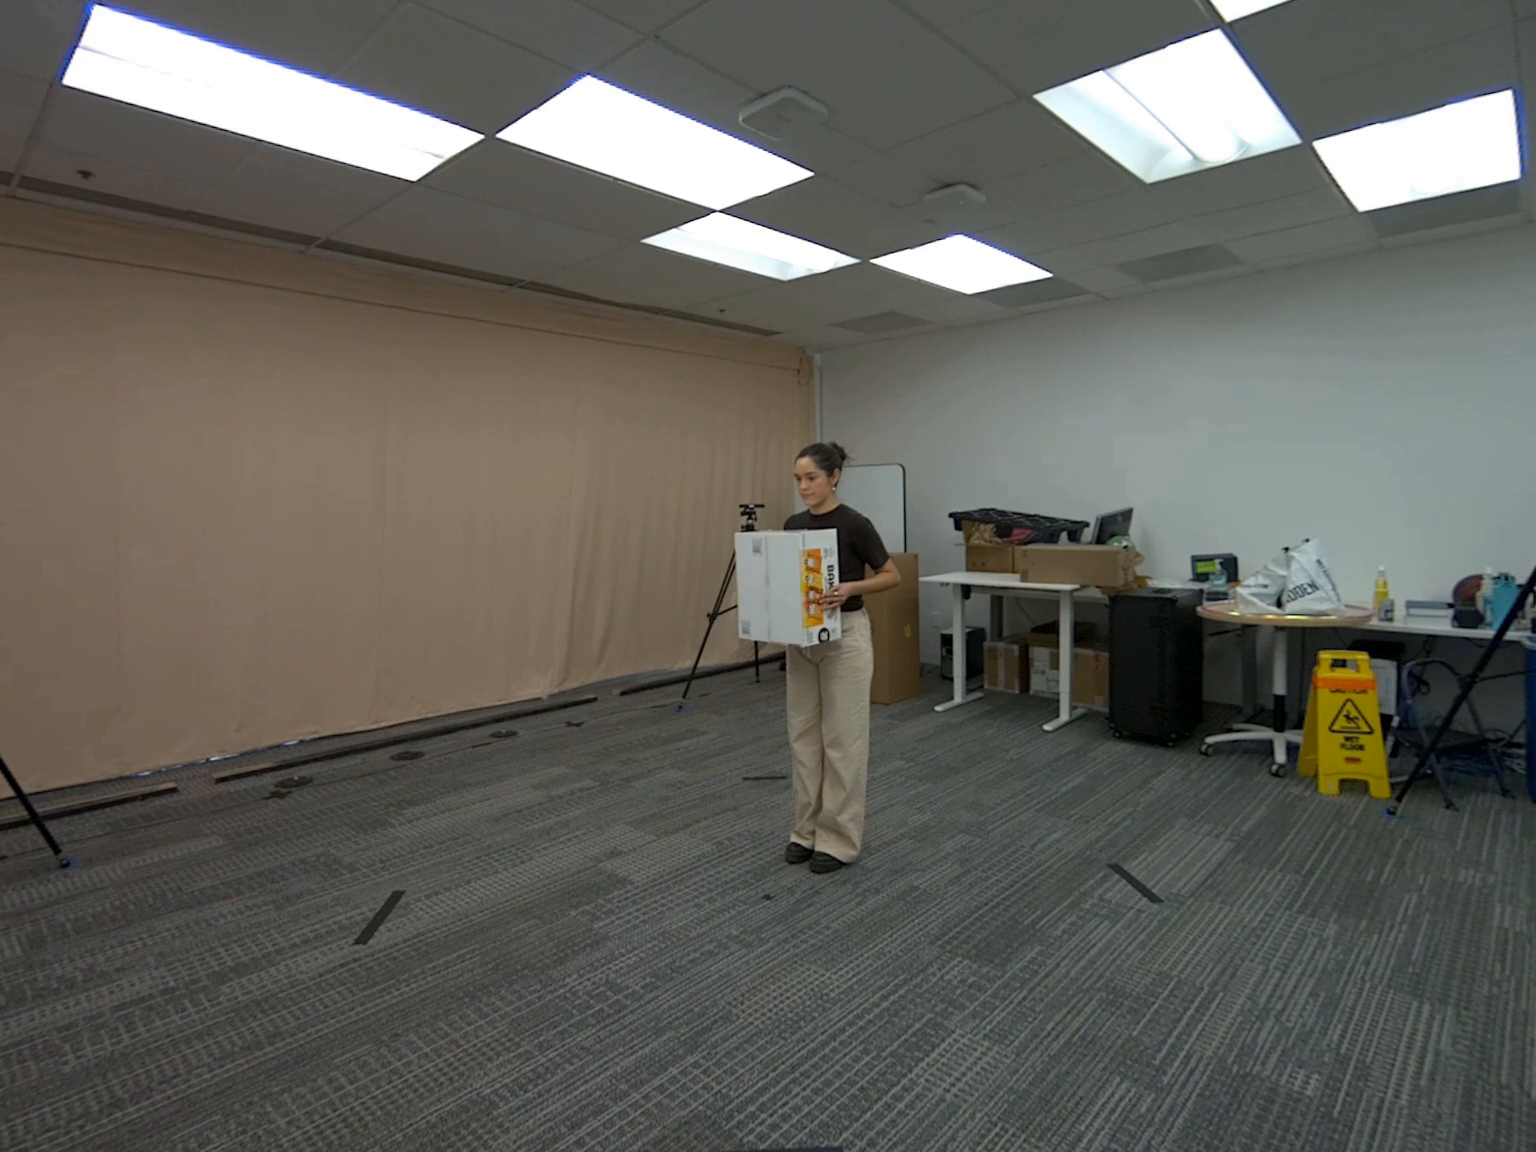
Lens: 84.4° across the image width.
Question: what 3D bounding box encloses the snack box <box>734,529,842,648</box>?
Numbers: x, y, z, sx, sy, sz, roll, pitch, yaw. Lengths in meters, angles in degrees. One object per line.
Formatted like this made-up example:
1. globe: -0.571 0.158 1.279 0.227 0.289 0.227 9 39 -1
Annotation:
1. snack box: 0.075 0.036 3.149 0.199 0.404 0.351 -7 6 -44
